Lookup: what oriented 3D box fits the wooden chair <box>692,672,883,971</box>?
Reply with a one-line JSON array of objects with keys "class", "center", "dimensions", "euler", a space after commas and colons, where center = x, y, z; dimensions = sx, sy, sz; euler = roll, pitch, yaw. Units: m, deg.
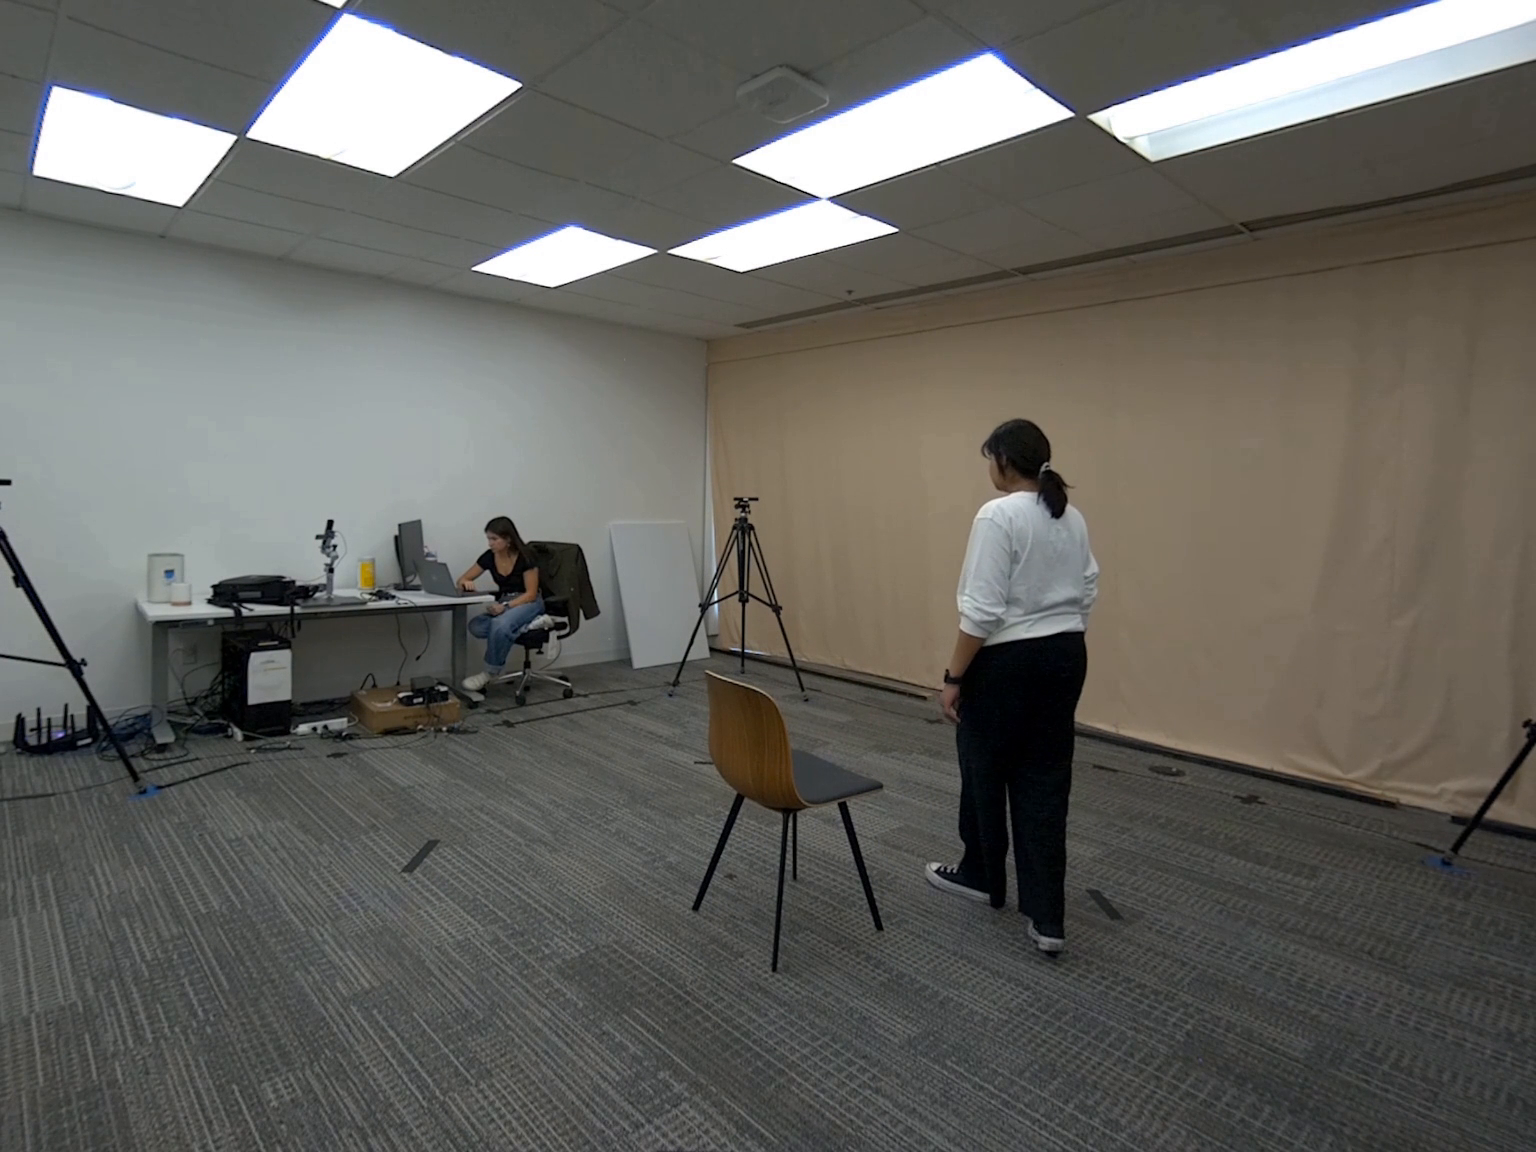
[{"class": "wooden chair", "center": [0.074, 0.715, 2.766], "dimensions": [0.512, 0.874, 0.490], "euler": [-6, 7, -36]}]
